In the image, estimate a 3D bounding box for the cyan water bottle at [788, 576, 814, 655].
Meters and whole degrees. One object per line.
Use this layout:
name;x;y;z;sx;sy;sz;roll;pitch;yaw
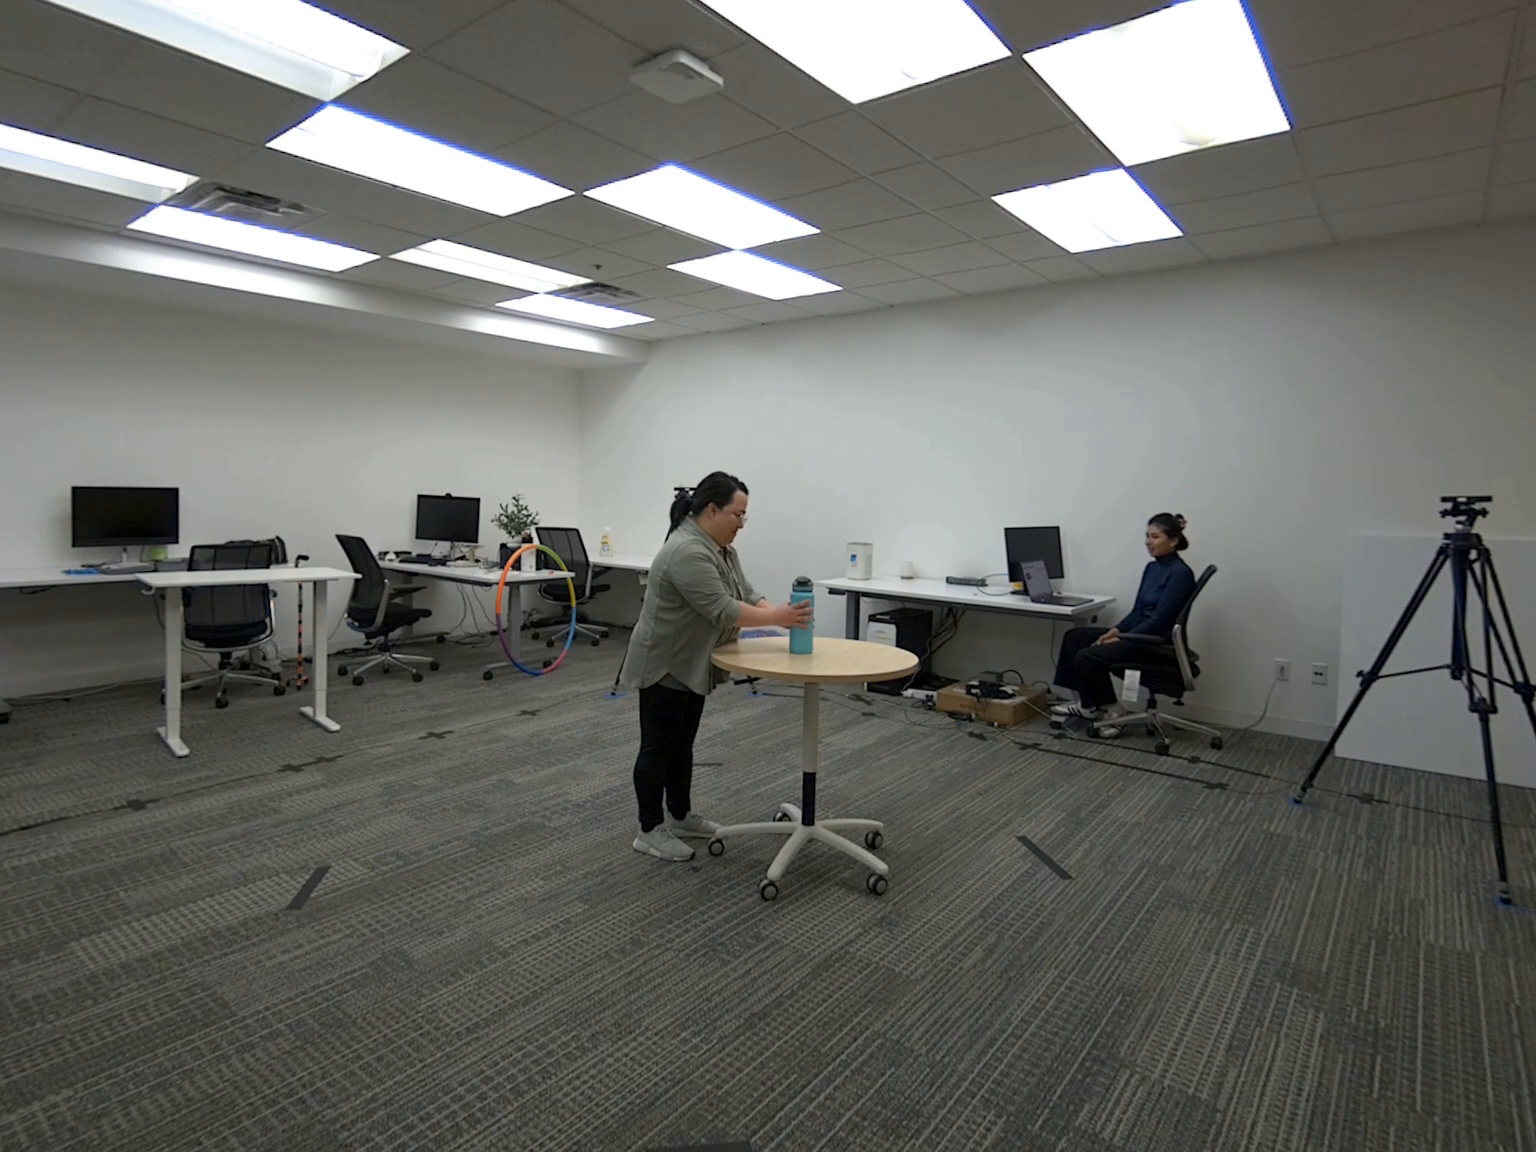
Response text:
cyan water bottle;0.118;0.144;3.185;0.092;0.283;0.092;1;1;-2
